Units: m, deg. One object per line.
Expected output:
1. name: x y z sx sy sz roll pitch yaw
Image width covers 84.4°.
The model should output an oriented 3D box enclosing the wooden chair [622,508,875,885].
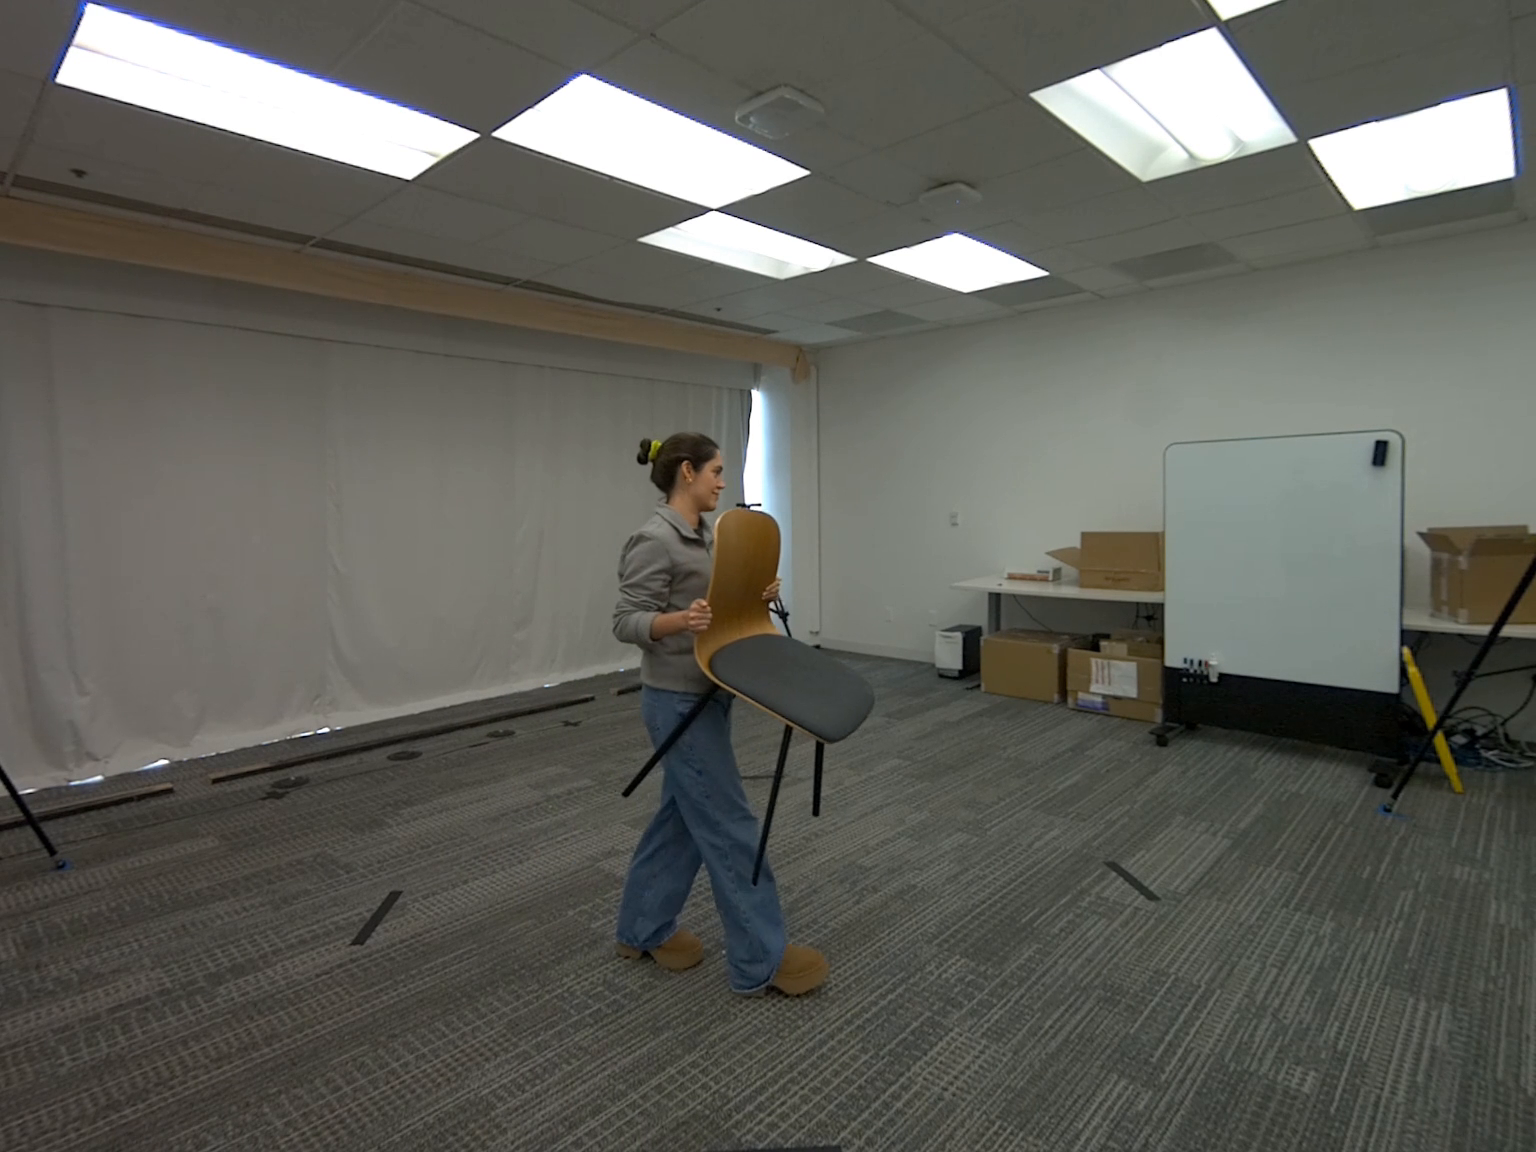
1. wooden chair: 0.029 0.310 2.352 0.538 0.873 0.467 23 17 23
